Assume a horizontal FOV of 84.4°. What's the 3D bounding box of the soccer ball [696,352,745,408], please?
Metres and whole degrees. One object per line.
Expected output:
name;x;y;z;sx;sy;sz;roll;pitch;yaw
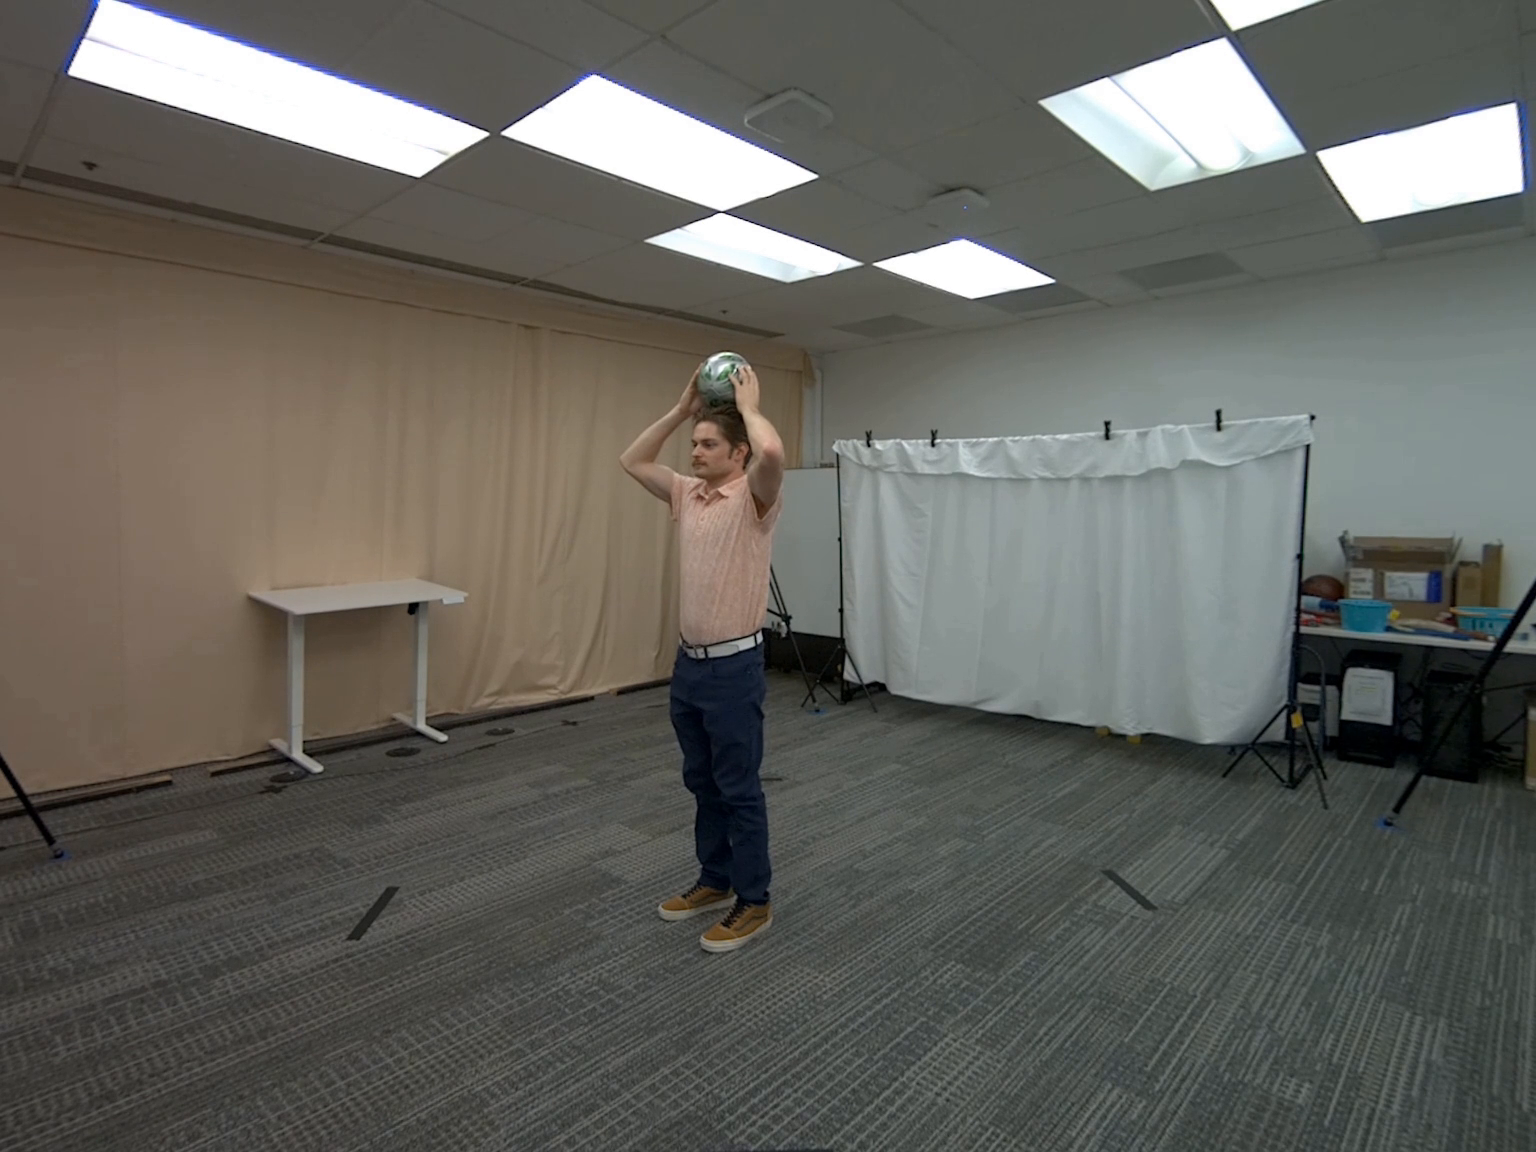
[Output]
soccer ball;-0.129;-0.629;2.750;0.187;0.187;0.188;0;4;-2
